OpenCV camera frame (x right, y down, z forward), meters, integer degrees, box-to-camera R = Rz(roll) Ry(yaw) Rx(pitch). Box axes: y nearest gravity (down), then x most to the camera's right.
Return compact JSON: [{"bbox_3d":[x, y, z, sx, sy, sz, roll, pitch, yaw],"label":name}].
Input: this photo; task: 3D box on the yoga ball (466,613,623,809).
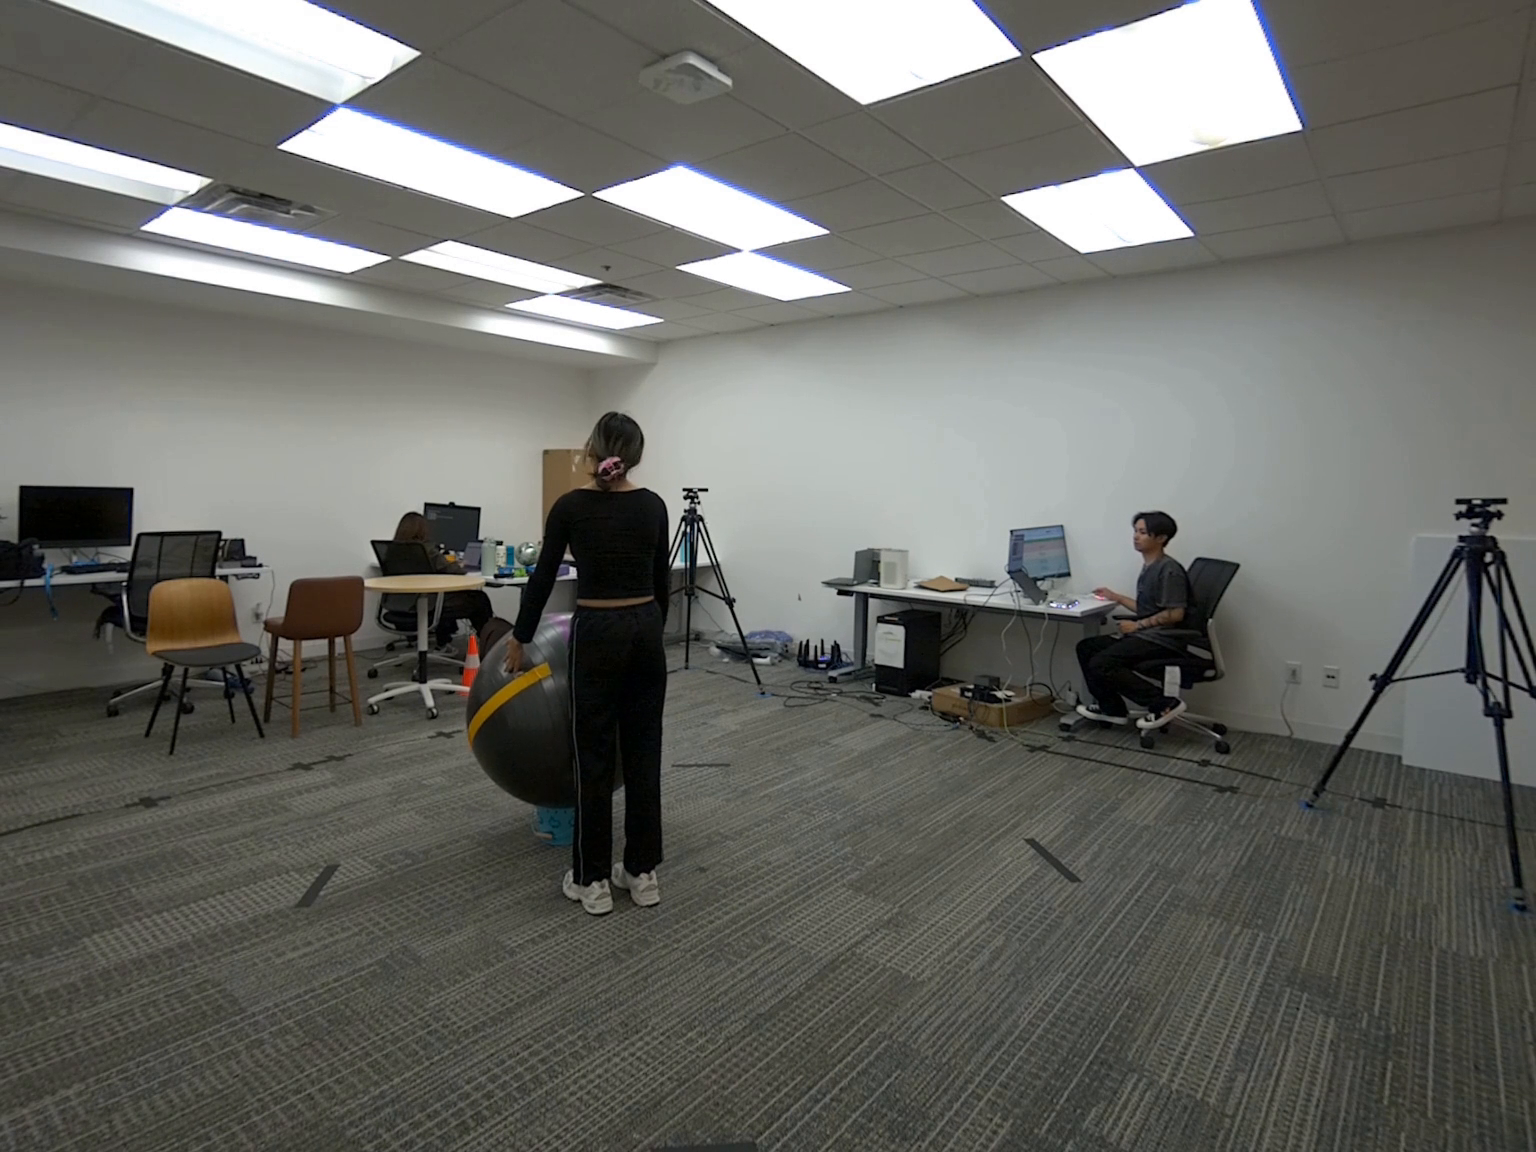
[{"bbox_3d":[-0.816,0.523,3.368,0.757,0.755,0.762,1,4,-2],"label":"yoga ball"}]
